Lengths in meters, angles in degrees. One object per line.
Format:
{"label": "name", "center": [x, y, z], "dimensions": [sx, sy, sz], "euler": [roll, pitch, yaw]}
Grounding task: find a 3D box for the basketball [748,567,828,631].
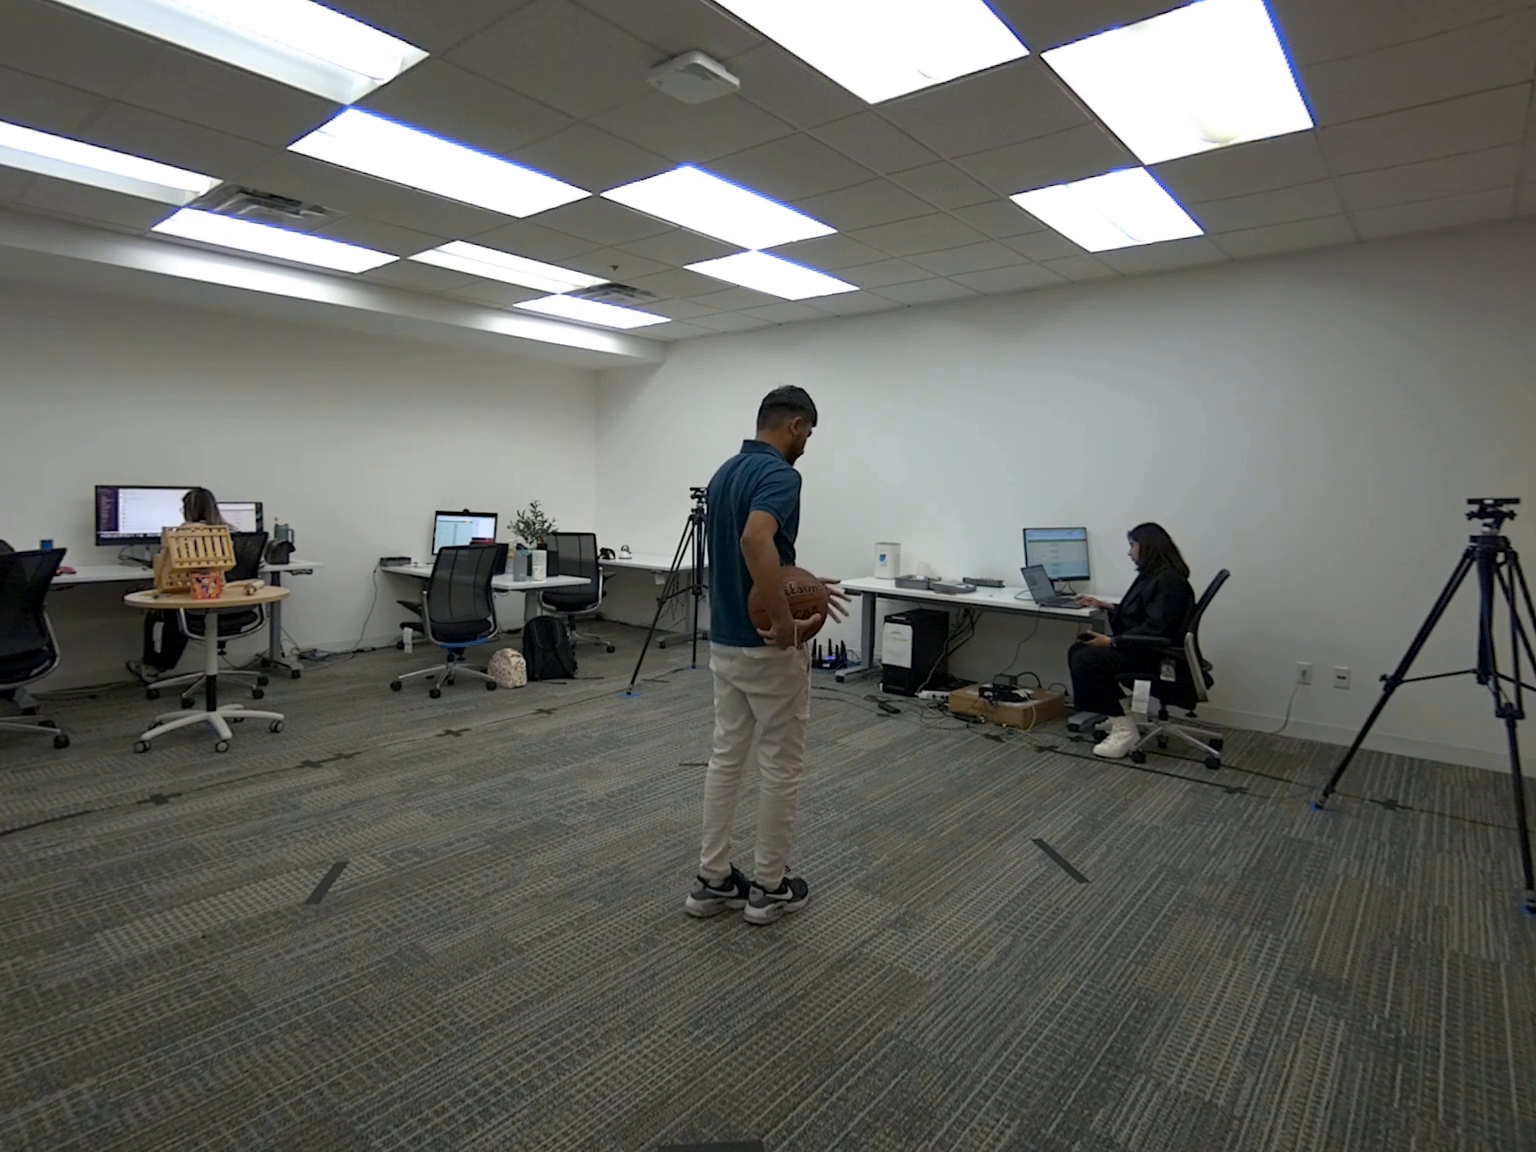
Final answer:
{"label": "basketball", "center": [0.058, 0.084, 2.546], "dimensions": [0.235, 0.235, 0.237], "euler": [1, 4, -2]}
